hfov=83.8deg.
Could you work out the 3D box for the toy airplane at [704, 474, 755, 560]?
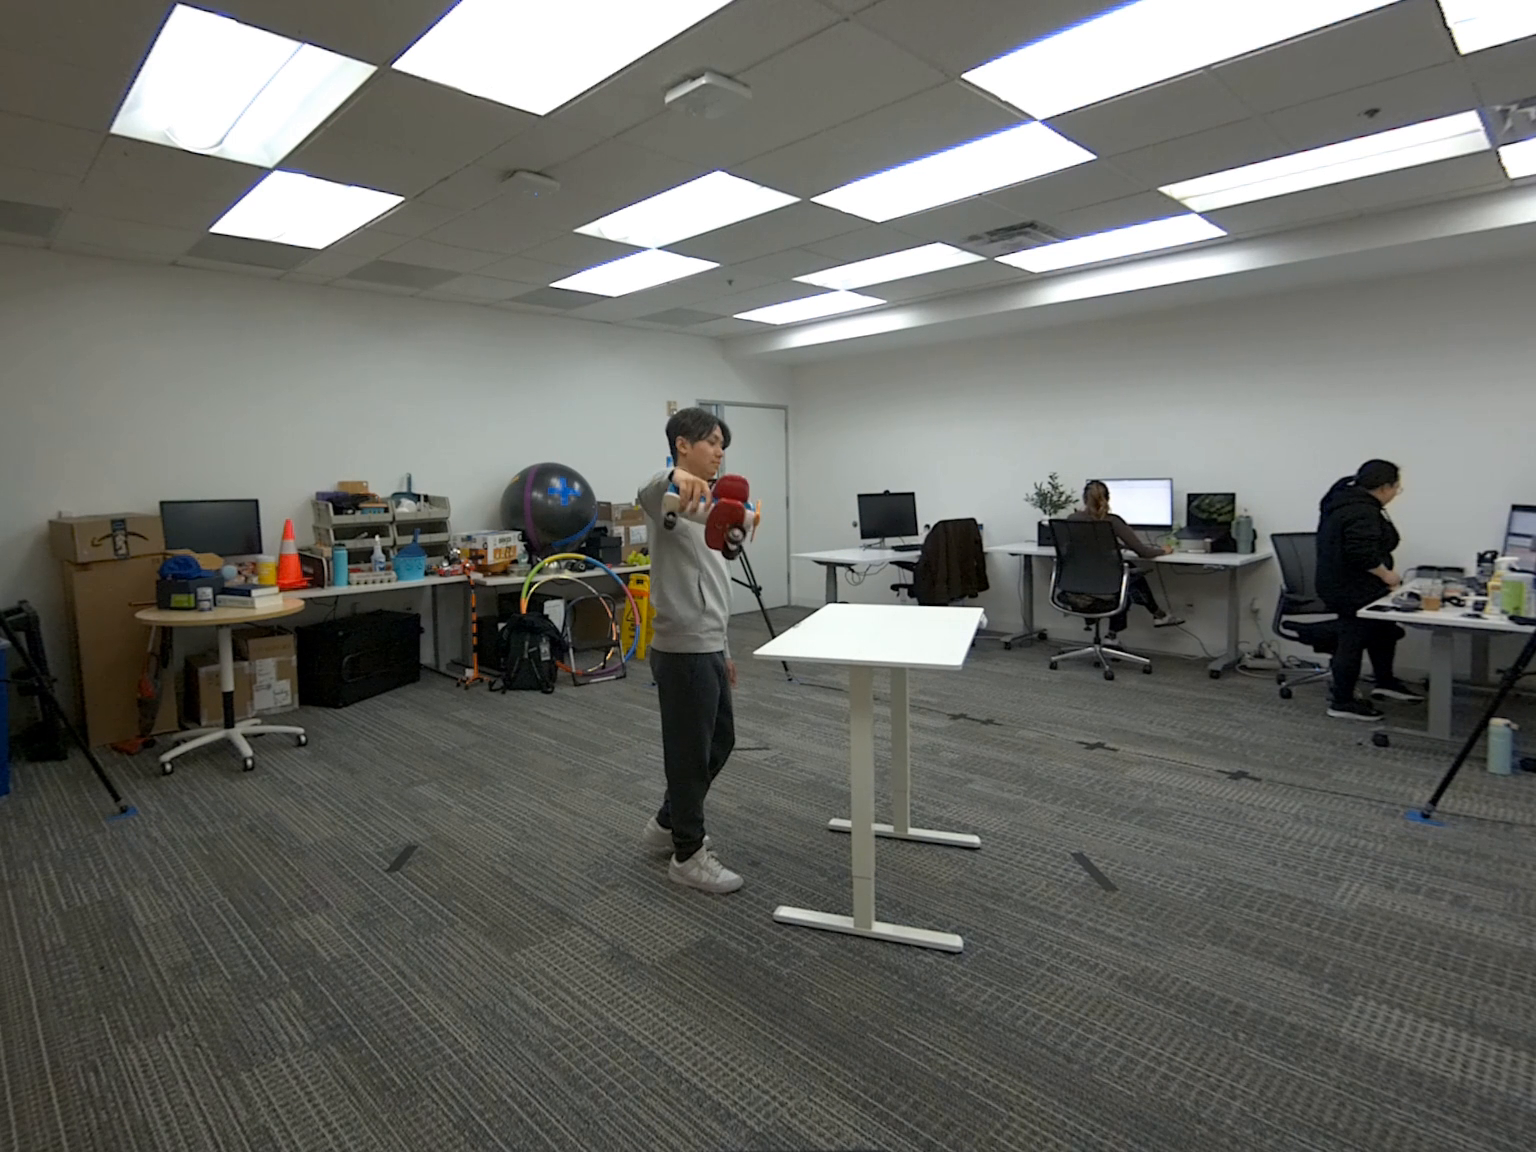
[{"bbox_3d":[-0.138,-0.175,2.247,0.252,0.158,0.255,36,-32,-24],"label":"toy airplane"}]
